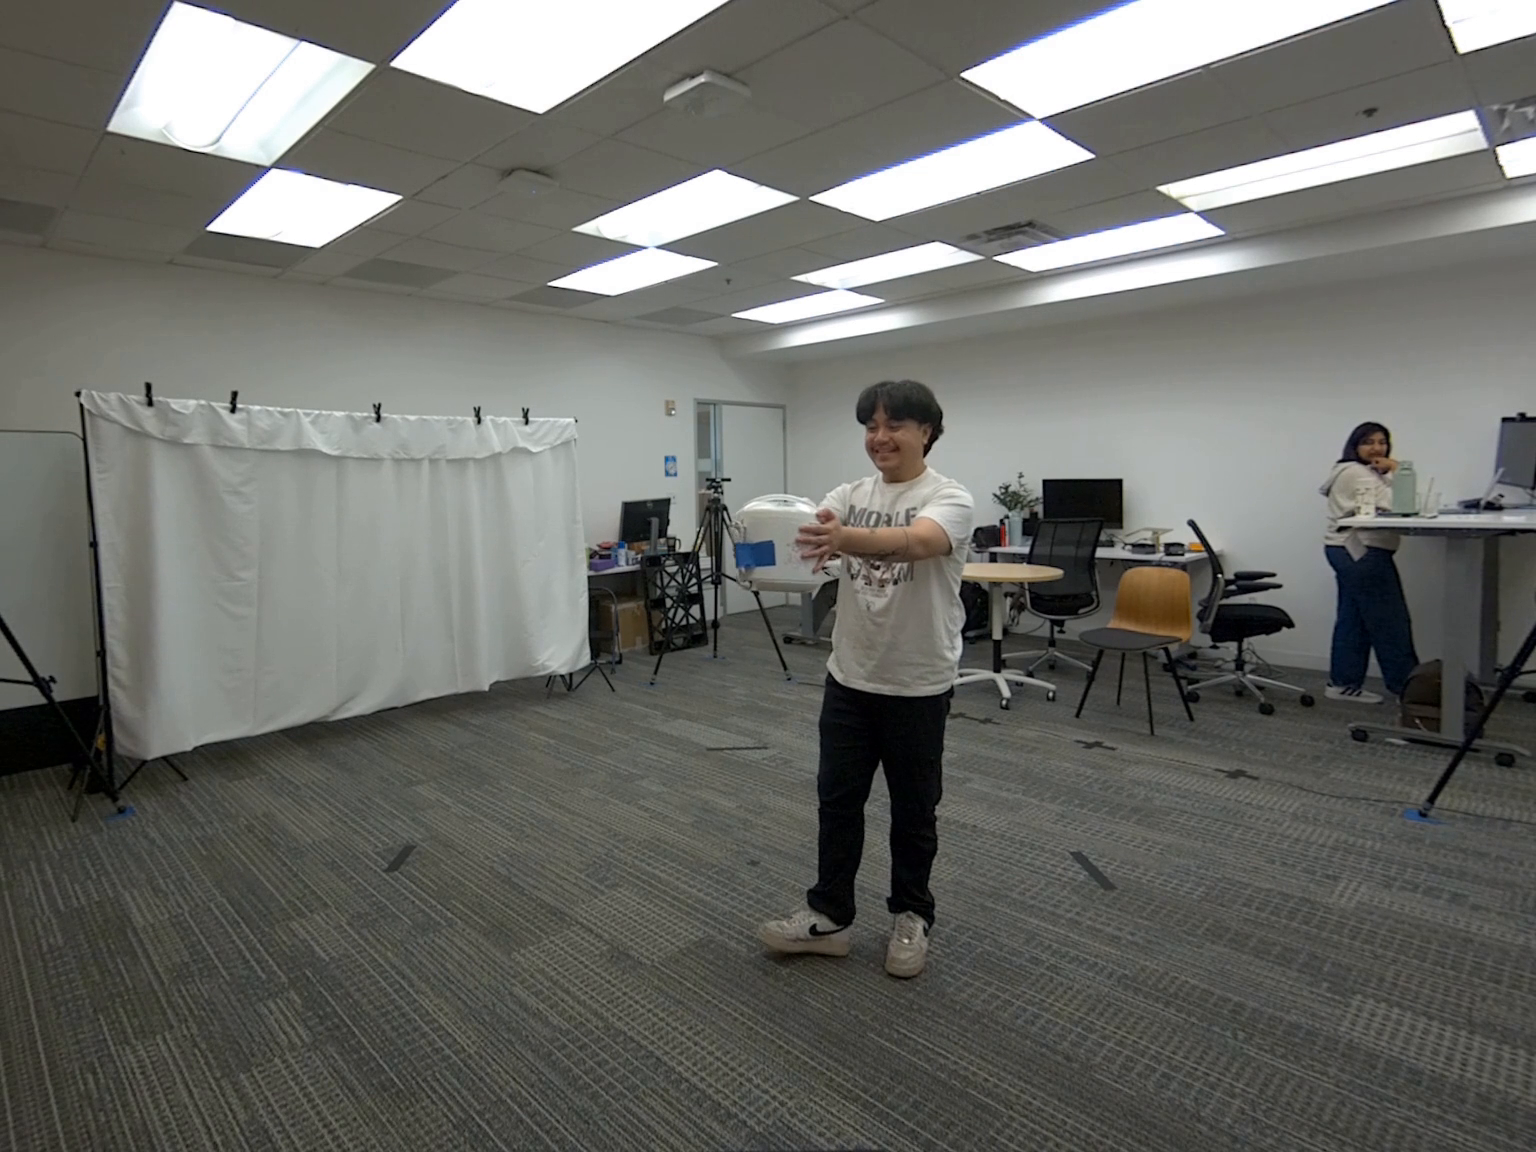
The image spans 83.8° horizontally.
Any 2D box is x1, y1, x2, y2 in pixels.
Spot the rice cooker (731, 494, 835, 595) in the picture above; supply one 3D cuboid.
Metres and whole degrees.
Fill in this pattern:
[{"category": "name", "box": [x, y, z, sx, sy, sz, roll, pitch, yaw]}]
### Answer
[{"category": "rice cooker", "box": [0.024, -0.077, 2.030, 0.222, 0.233, 0.216, 3, 0, 5]}]
